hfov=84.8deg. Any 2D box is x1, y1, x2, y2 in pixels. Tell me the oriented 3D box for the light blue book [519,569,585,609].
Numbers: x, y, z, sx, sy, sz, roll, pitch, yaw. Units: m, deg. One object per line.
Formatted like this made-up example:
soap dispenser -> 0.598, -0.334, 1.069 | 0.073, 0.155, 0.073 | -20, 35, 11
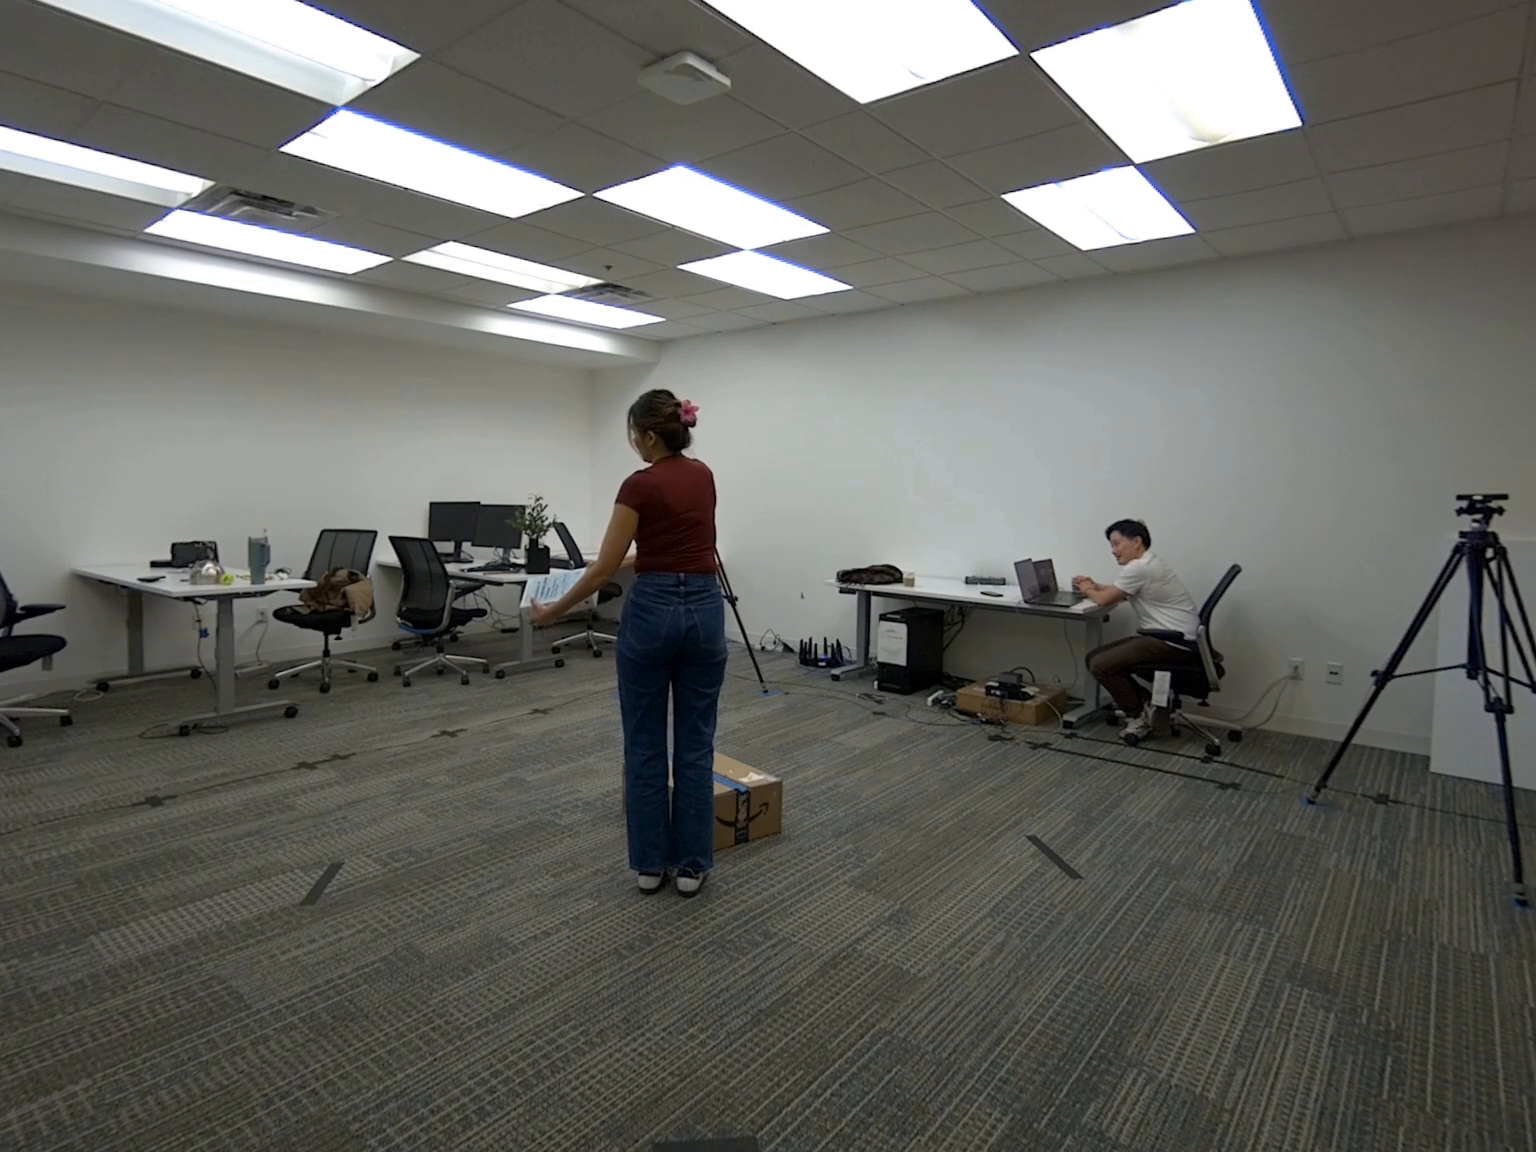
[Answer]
light blue book -> -0.754, 0.055, 3.068 | 0.262, 0.057, 0.197 | -9, 34, 2
